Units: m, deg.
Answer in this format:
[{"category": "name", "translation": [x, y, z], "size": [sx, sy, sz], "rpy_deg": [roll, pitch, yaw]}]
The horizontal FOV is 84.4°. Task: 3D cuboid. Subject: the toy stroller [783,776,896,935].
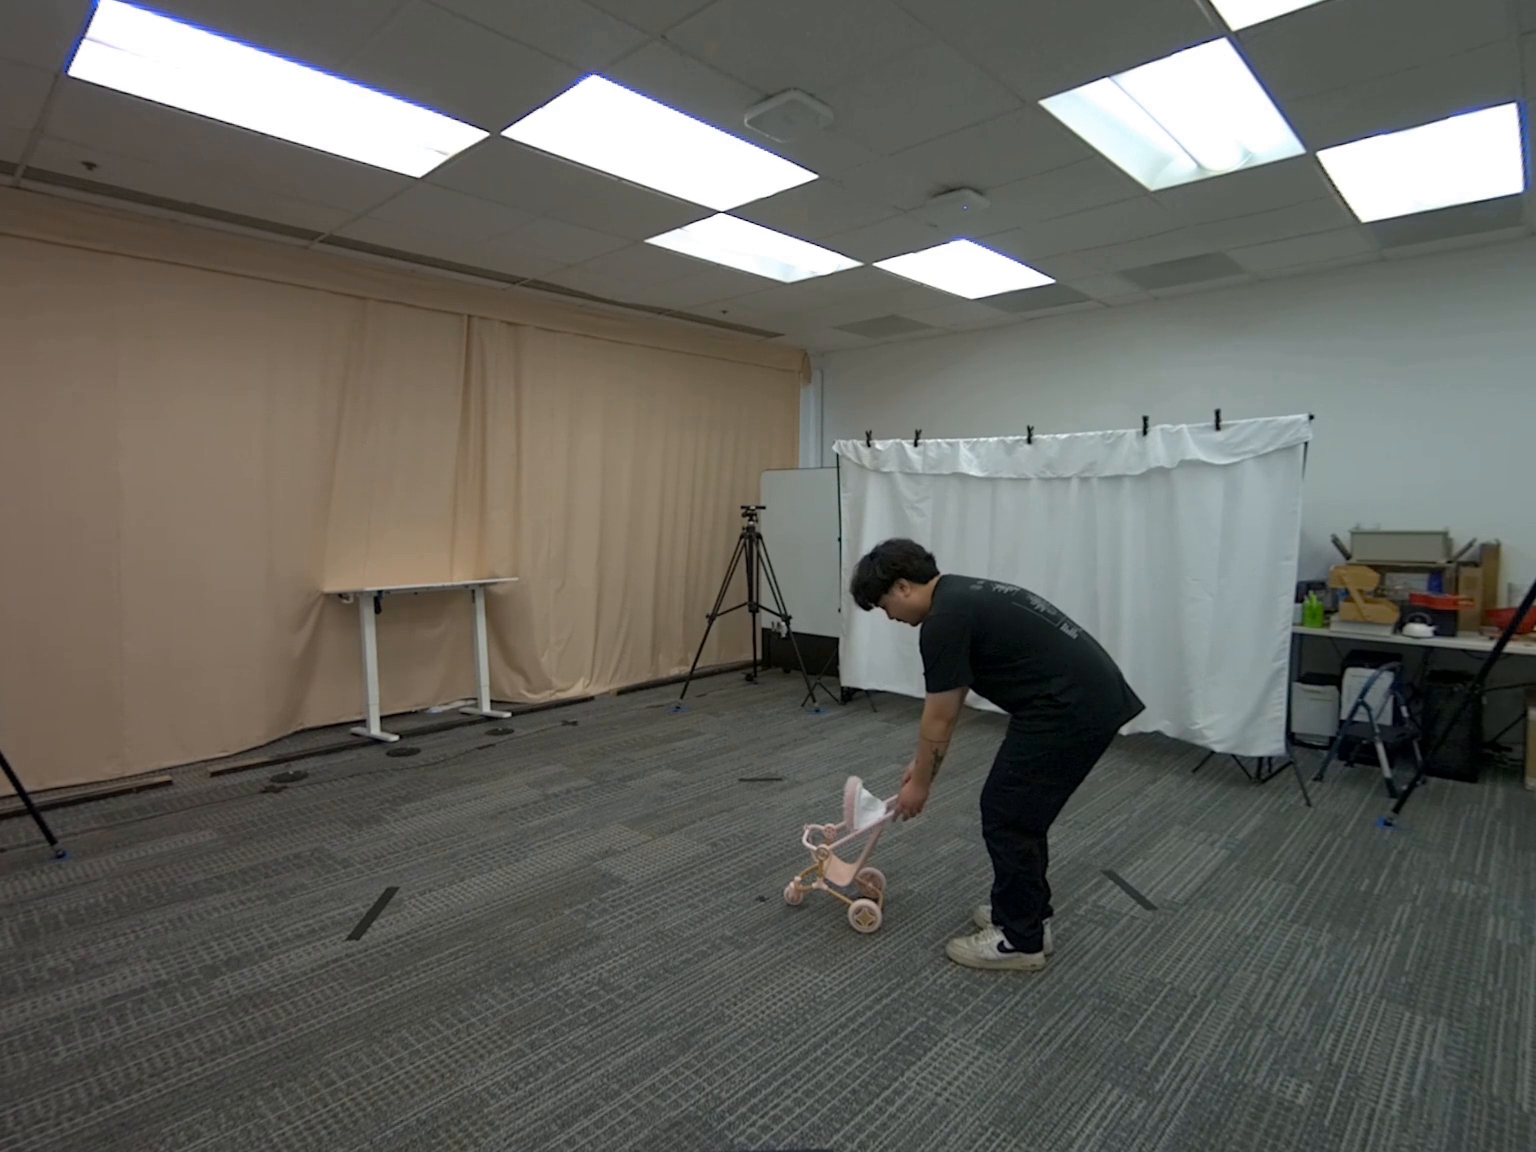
[{"category": "toy stroller", "translation": [0.281, 0.927, 2.877], "size": [0.349, 0.533, 0.276], "rpy_deg": [17, 8, 18]}]
